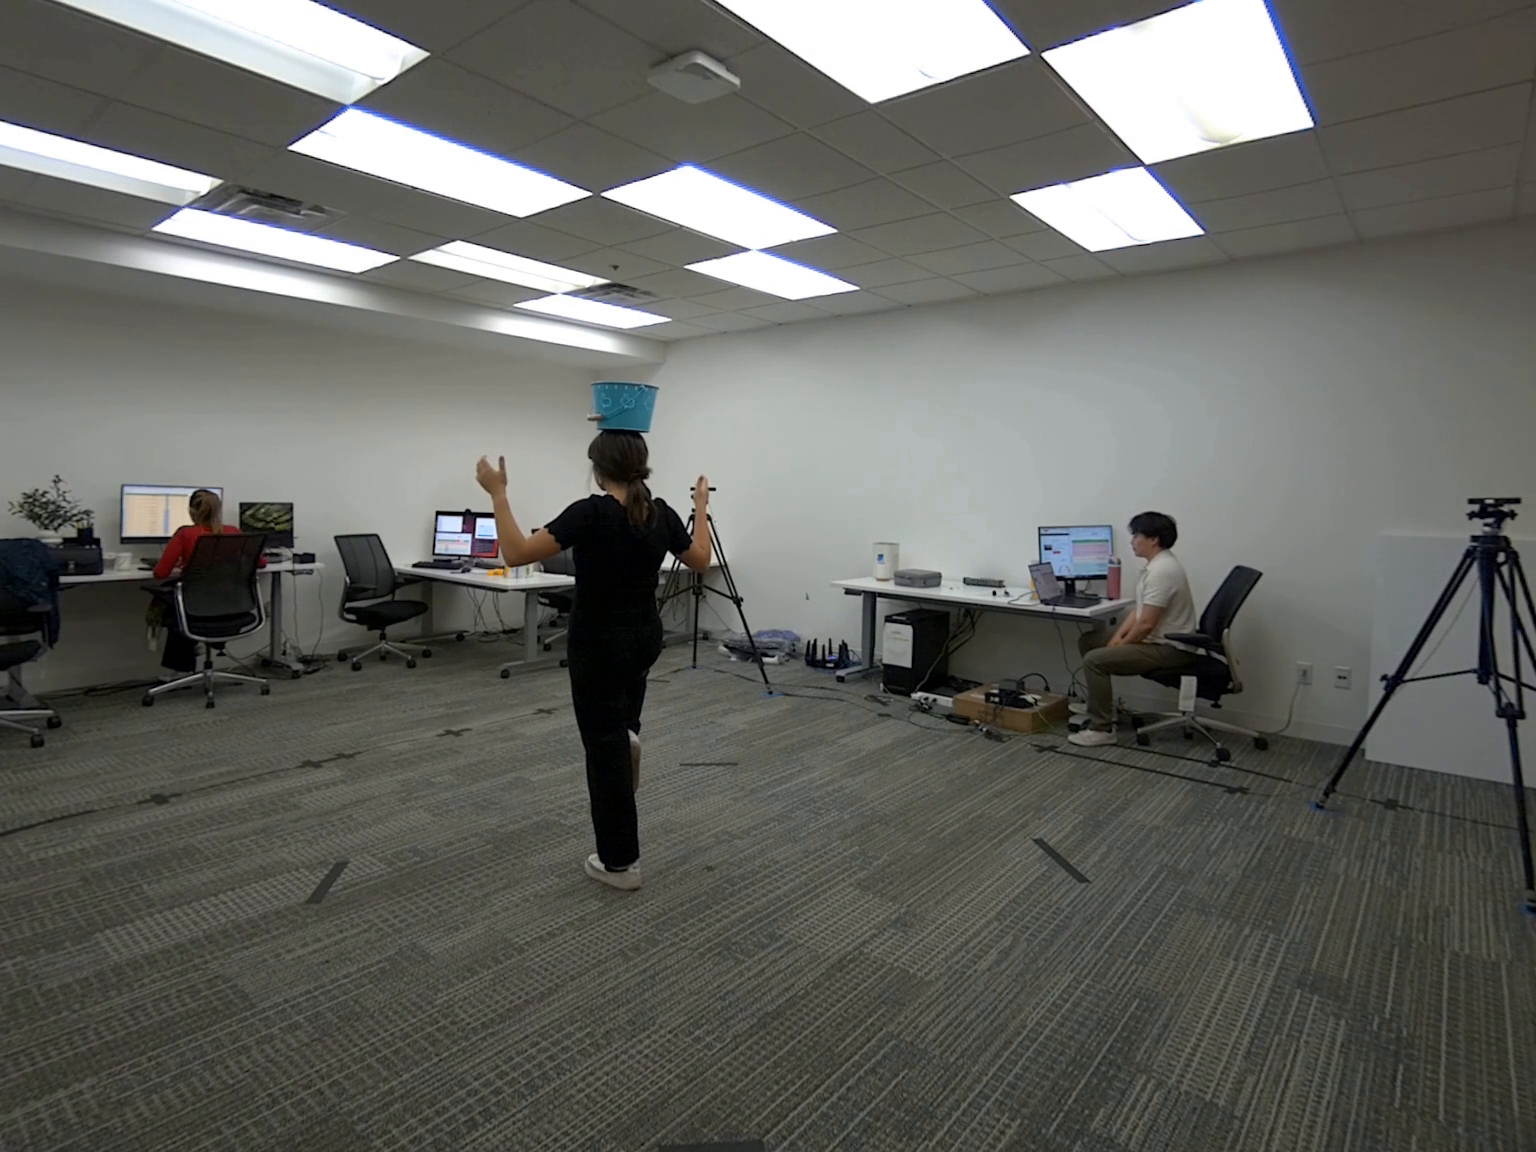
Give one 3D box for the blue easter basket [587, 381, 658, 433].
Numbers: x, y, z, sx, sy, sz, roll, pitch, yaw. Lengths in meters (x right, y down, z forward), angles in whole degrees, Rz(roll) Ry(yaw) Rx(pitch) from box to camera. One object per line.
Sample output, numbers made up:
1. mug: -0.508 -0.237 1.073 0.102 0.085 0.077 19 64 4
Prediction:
1. blue easter basket: -0.505 -0.572 2.883 0.243 0.155 0.245 2 6 -2
